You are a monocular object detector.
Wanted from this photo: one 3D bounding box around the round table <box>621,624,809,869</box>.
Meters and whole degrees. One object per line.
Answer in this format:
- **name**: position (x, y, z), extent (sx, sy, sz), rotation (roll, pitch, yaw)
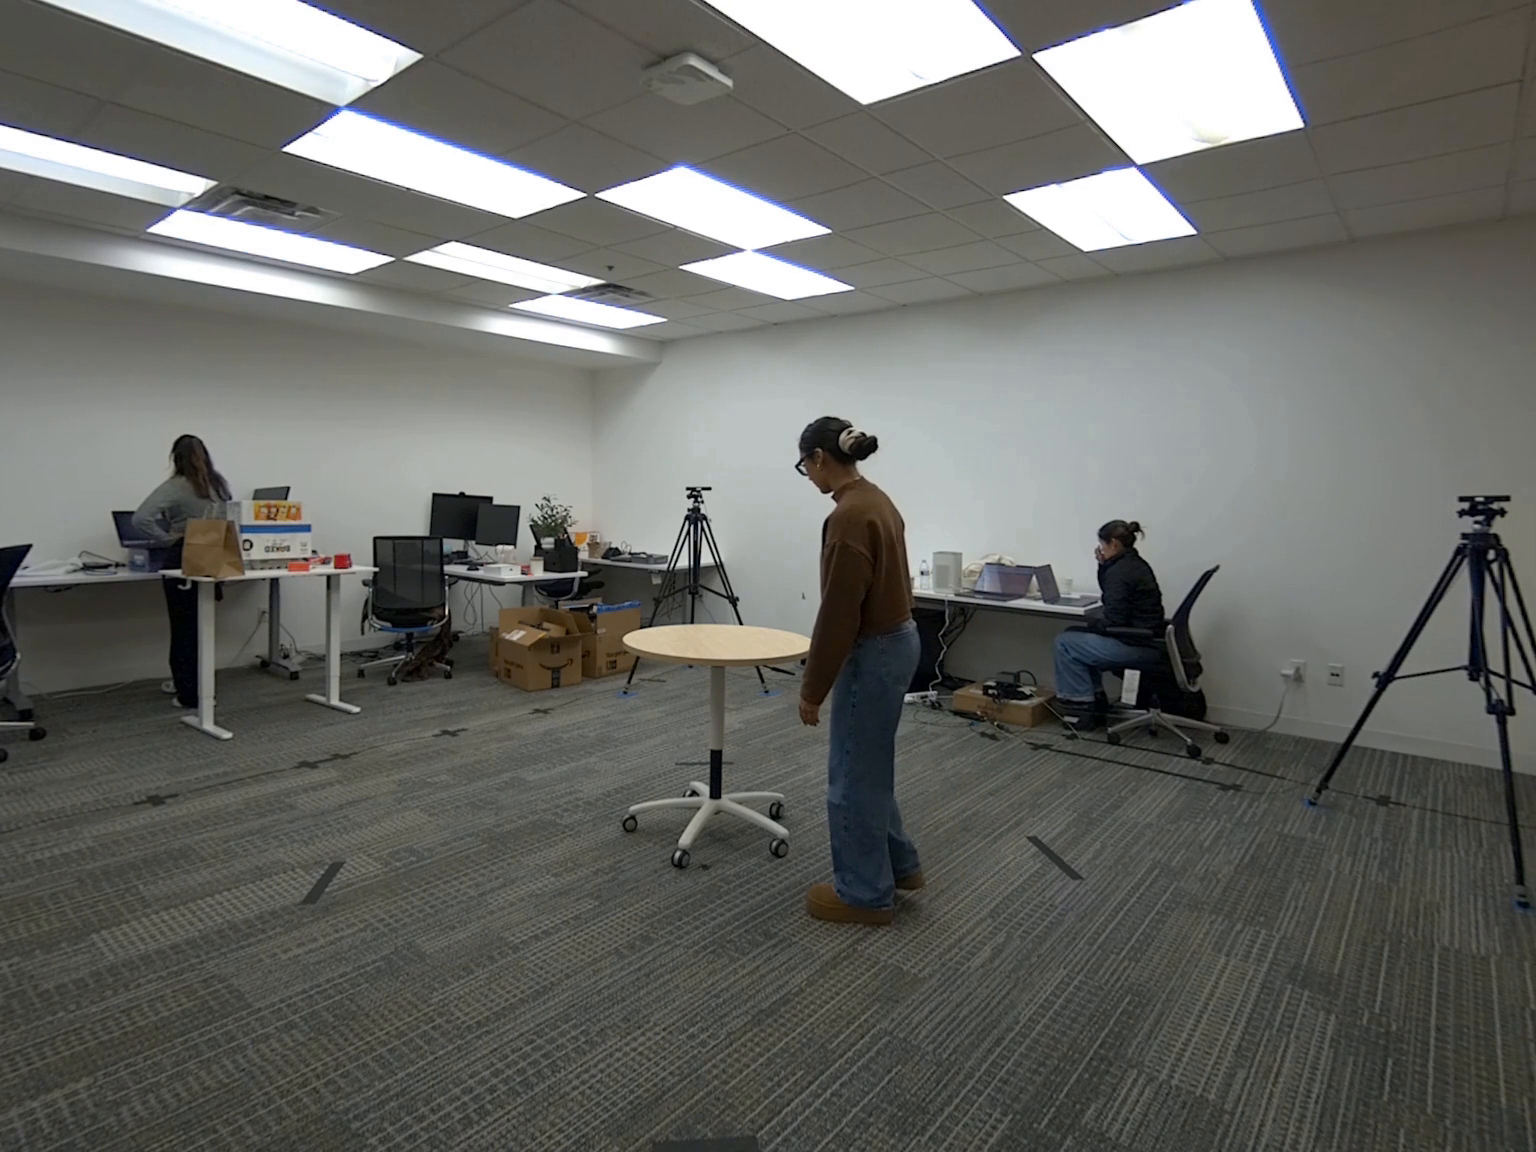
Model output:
- **round table**: position (-0.217, 0.647, 3.419), extent (0.763, 0.791, 0.768), rotation (1, 4, -2)
